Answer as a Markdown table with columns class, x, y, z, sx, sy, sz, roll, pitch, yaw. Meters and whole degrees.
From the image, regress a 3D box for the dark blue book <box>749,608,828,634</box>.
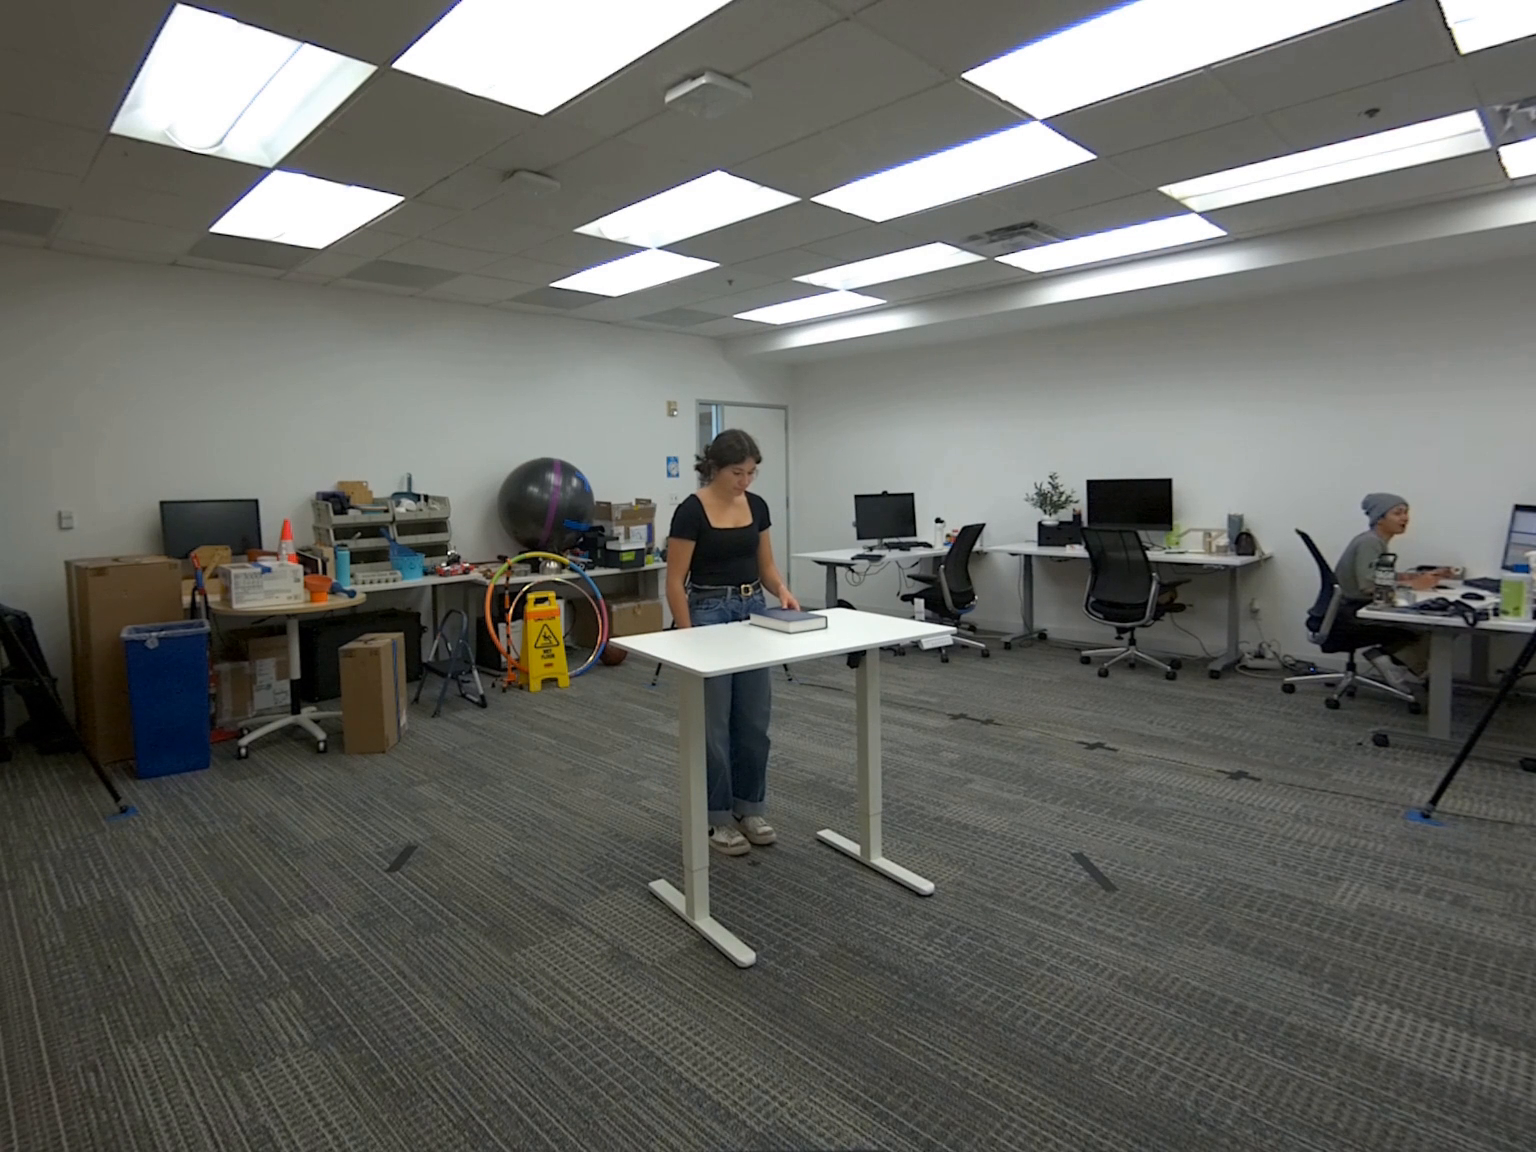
| class | x | y | z | sx | sy | sz | roll | pitch | yaw |
| --- | --- | --- | --- | --- | --- | --- | --- | --- | --- |
| dark blue book | 0.056 | 0.159 | 2.974 | 0.159 | 0.045 | 0.252 | -5 | 8 | -34 |
